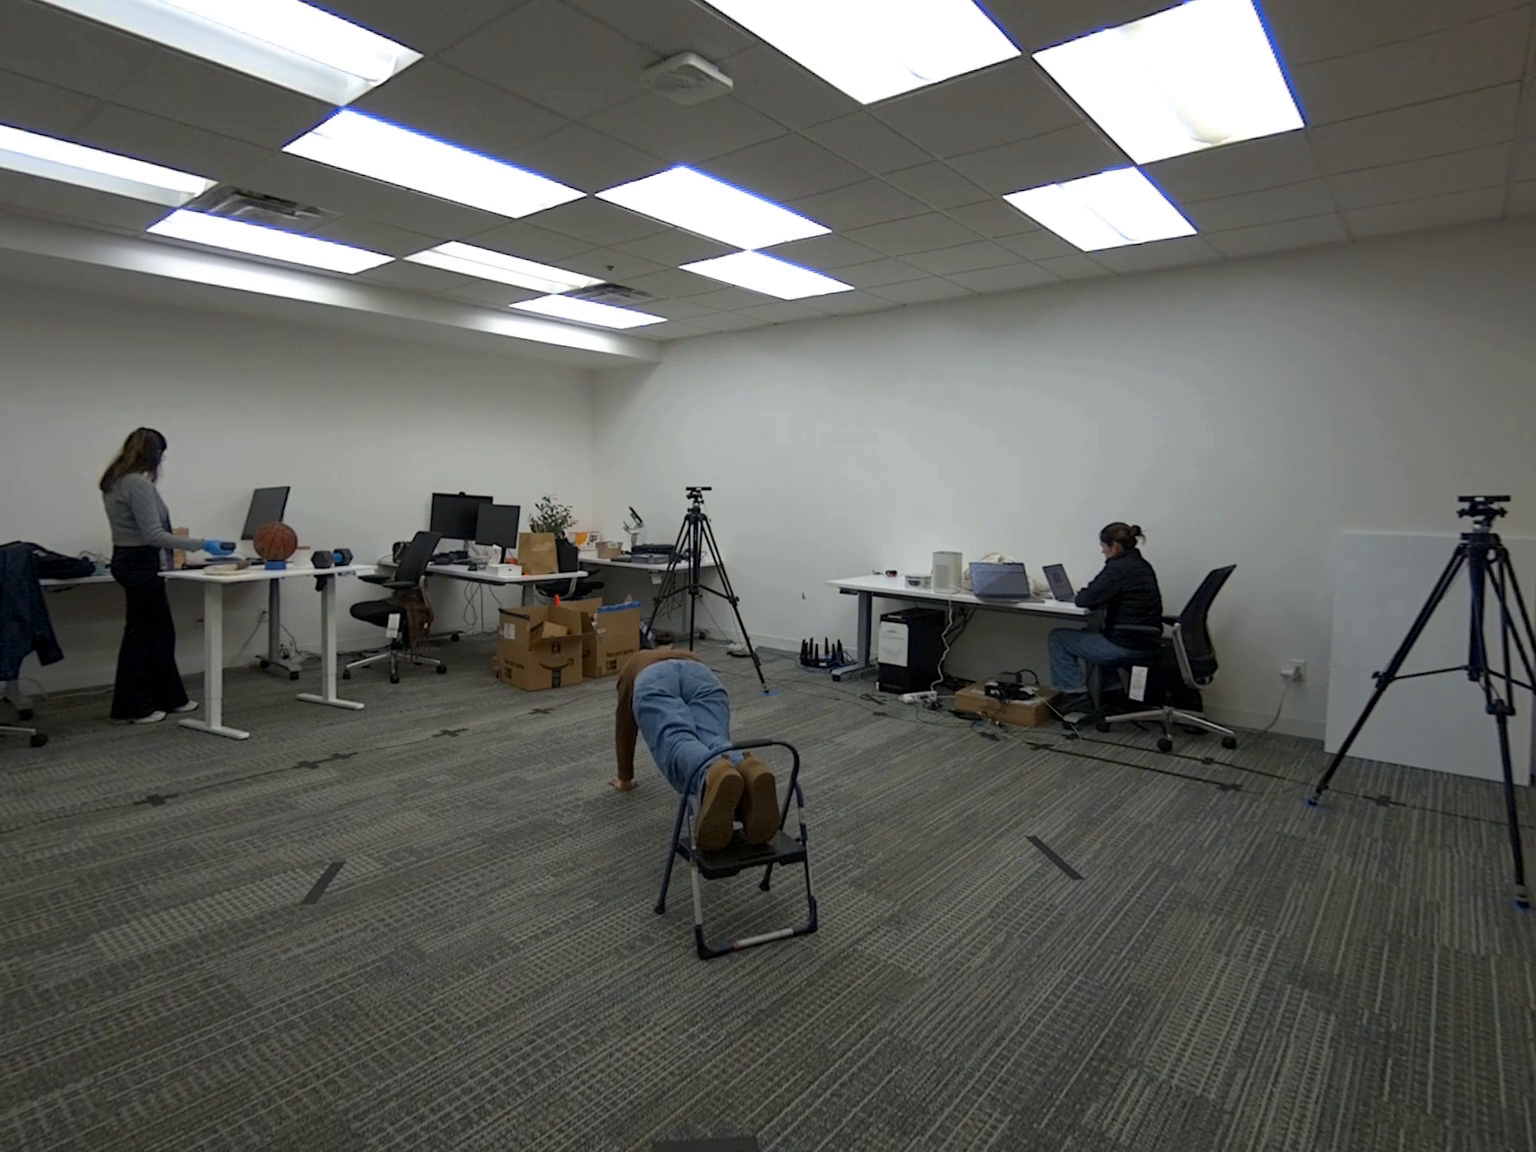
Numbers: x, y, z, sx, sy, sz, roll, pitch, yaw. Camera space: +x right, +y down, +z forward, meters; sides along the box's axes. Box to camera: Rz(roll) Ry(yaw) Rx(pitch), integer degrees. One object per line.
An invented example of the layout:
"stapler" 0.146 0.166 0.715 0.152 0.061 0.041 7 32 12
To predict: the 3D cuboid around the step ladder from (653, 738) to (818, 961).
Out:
"step ladder" -0.107 0.806 2.722 0.419 0.604 0.360 -1 4 -29
